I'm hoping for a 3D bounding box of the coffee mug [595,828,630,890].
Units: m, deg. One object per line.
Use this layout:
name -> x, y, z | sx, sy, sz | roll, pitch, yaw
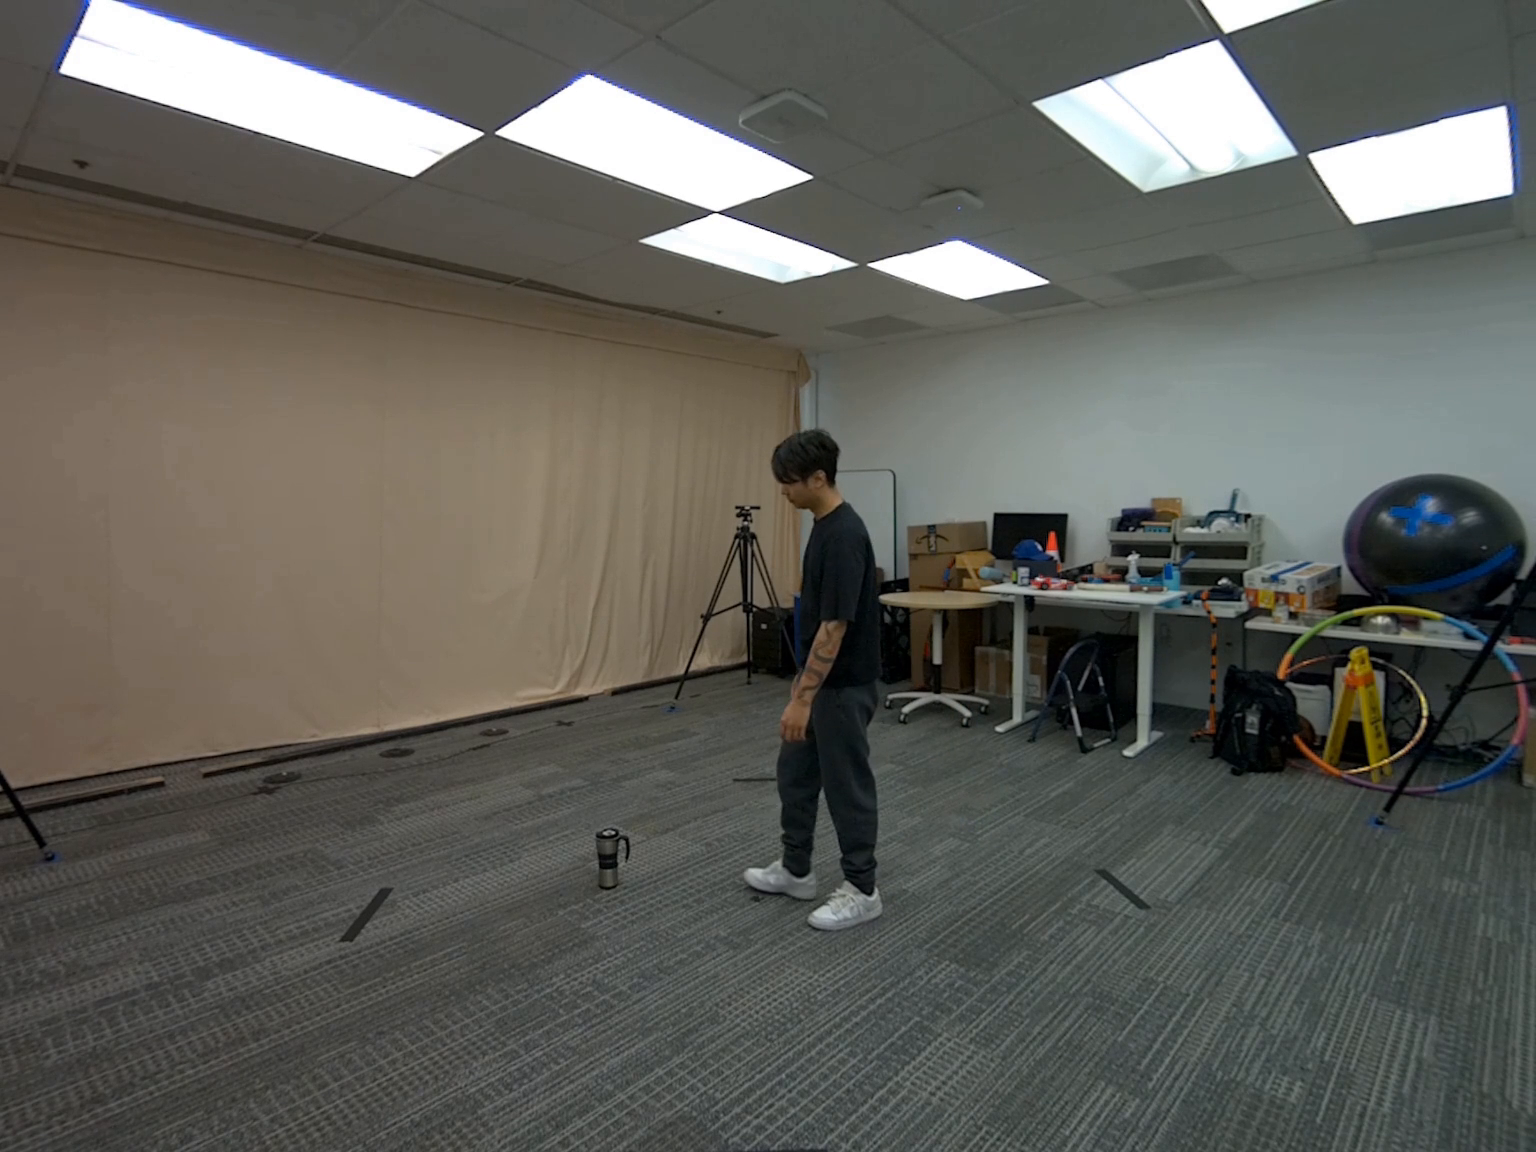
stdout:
coffee mug -> -0.580, 1.044, 3.075 | 0.126, 0.203, 0.085 | -4, -3, 41
